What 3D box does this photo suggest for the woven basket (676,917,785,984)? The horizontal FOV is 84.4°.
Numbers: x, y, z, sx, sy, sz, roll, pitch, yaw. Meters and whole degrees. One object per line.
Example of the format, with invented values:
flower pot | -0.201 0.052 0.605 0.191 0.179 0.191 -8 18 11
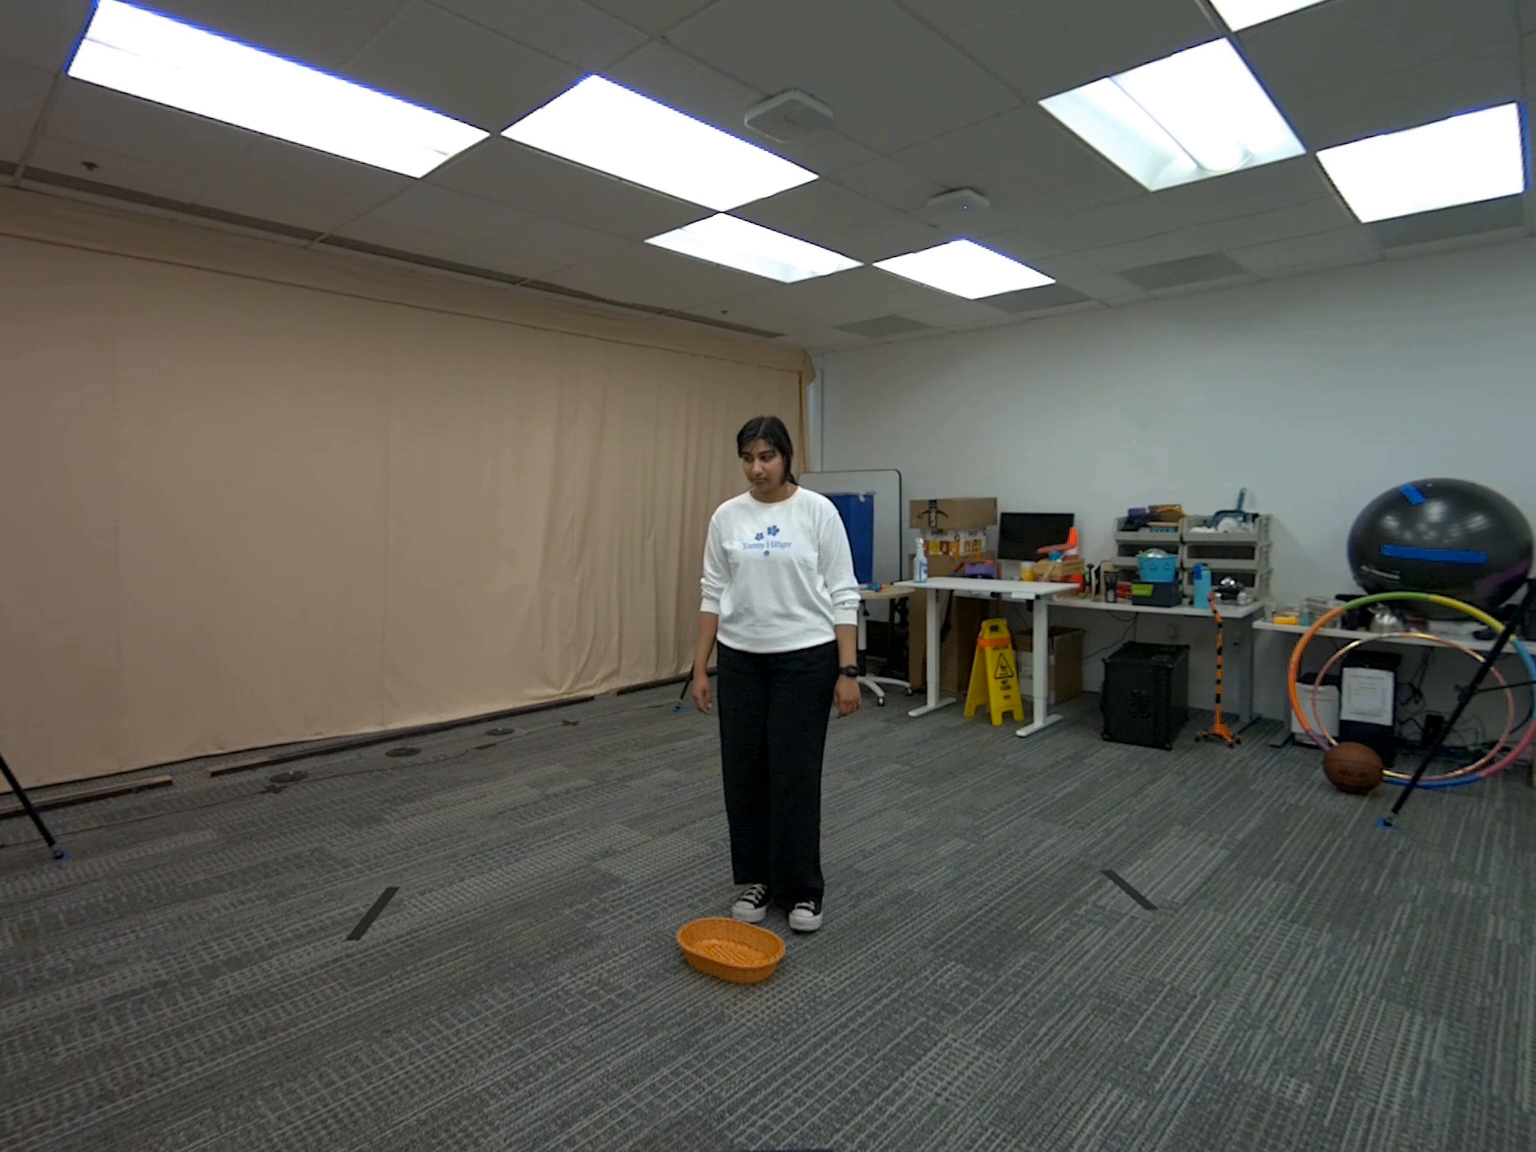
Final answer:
woven basket | -0.109 1.133 2.569 0.361 0.073 0.245 3 5 34
